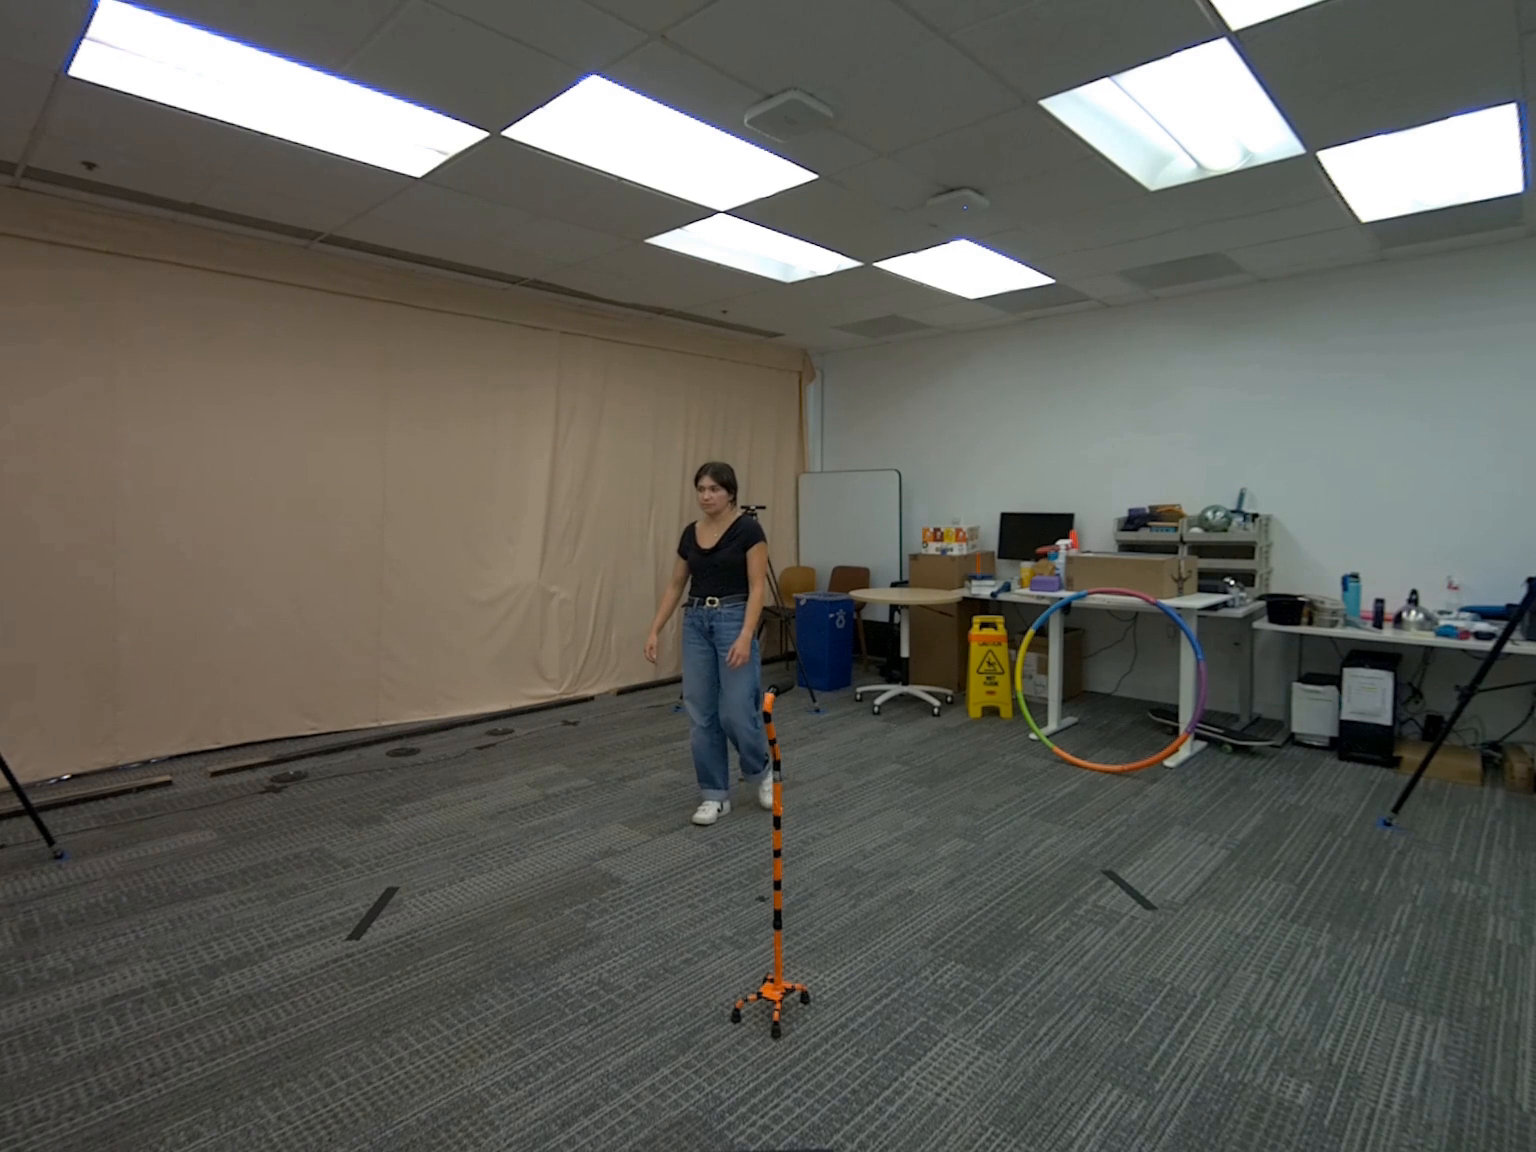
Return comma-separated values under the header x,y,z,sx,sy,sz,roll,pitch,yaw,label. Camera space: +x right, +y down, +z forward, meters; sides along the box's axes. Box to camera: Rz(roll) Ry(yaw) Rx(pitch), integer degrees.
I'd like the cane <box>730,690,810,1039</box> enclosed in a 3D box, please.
x,y,z,sx,sy,sz,roll,pitch,yaw,label
0.023,0.750,2.297,0.156,0.906,0.201,2,3,27,cane
